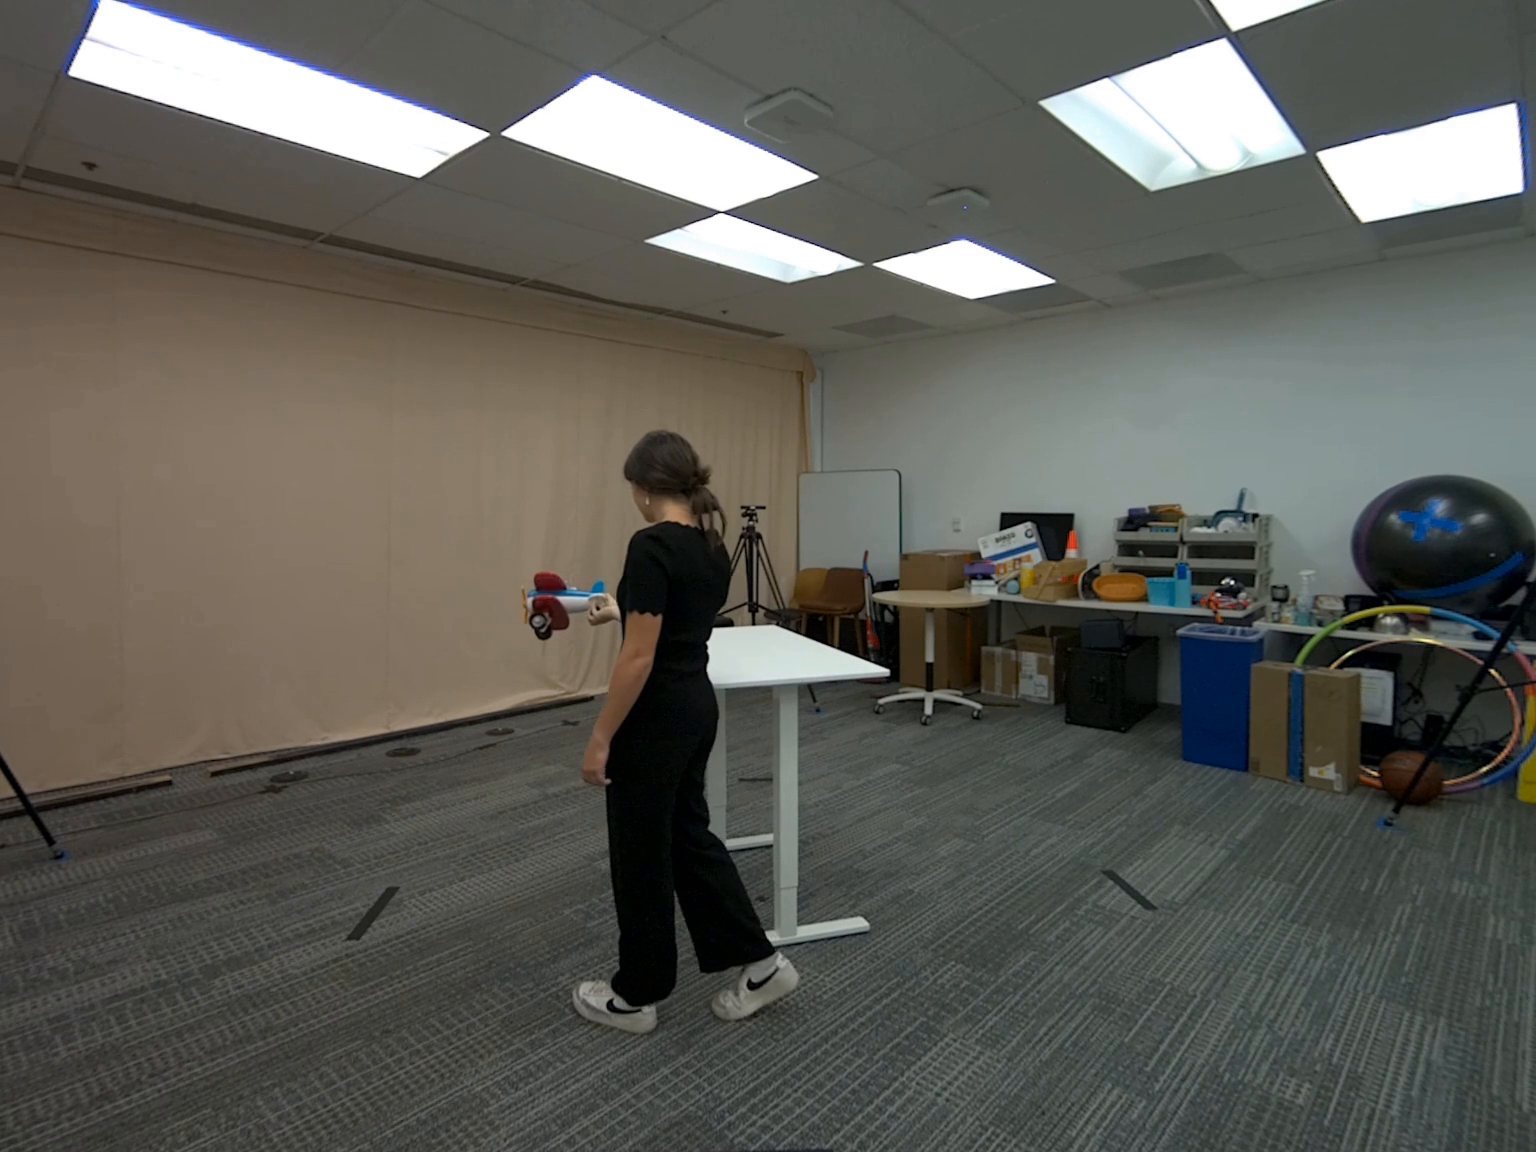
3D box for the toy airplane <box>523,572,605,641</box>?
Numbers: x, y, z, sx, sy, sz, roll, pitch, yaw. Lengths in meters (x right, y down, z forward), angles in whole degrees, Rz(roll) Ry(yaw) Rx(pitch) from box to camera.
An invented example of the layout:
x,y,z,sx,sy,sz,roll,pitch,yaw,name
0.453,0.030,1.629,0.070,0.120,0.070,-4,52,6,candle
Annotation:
x,y,z,sx,sy,sz,roll,pitch,yaw,name
-0.636,0.092,2.640,0.252,0.160,0.253,-1,-29,-32,toy airplane
